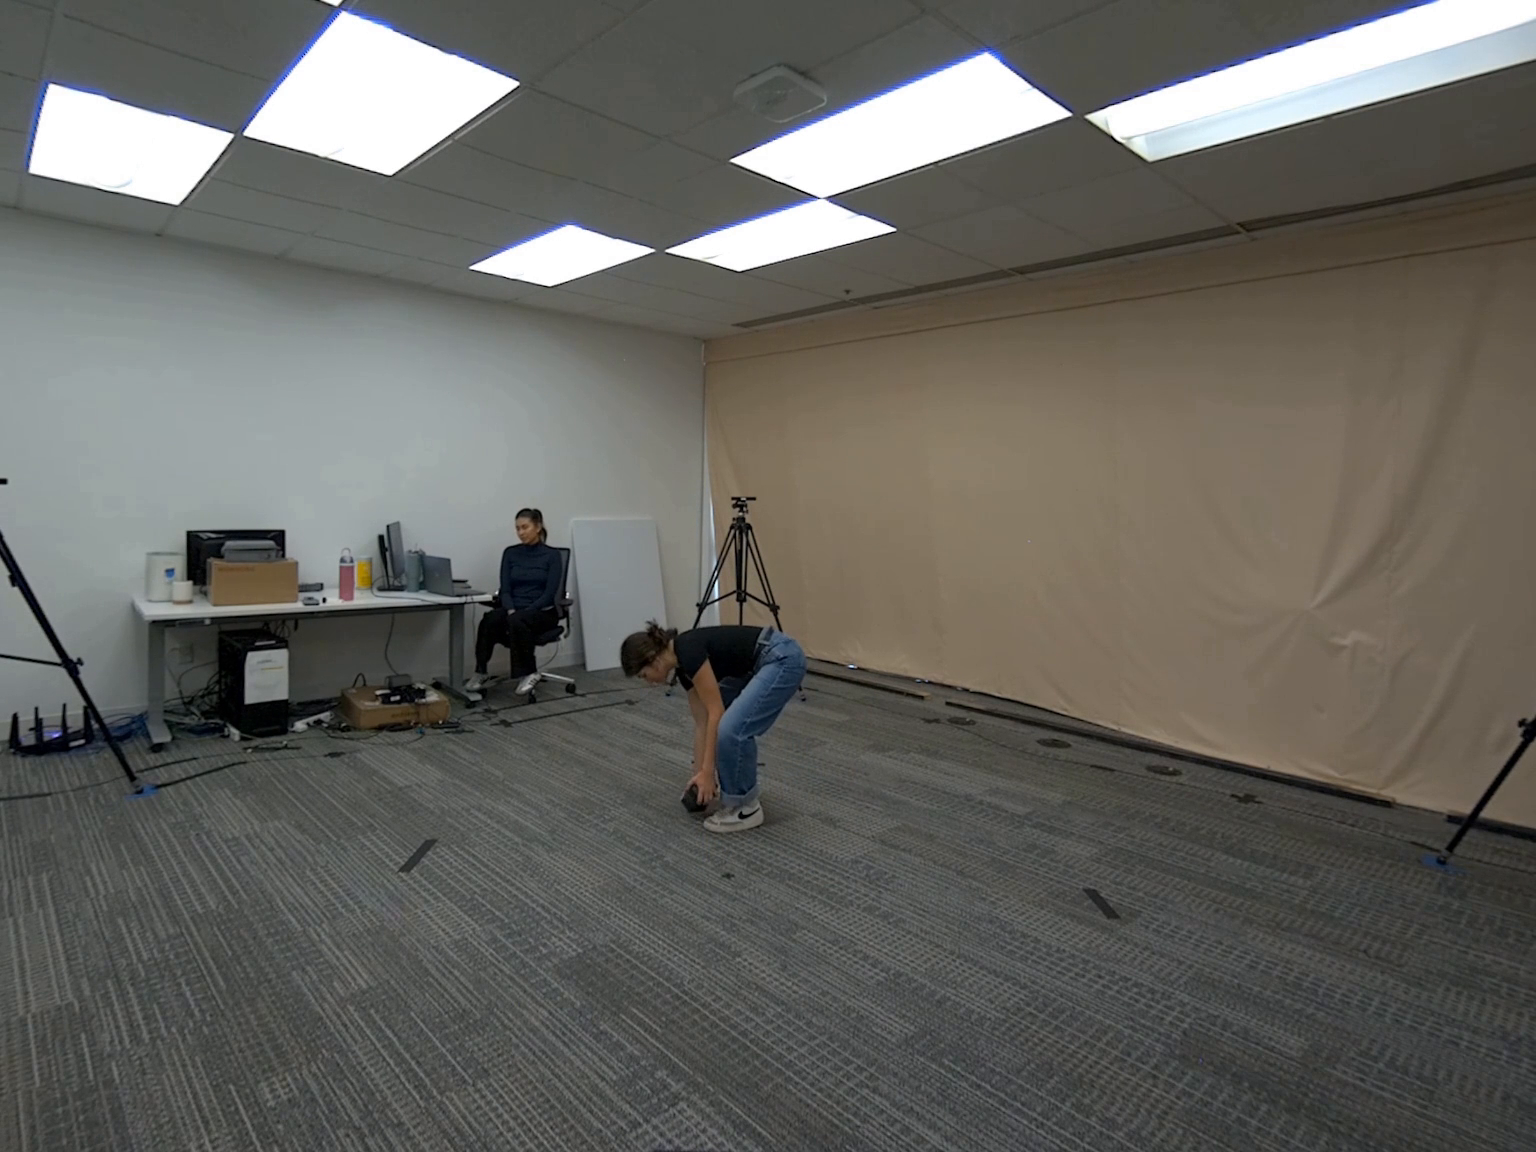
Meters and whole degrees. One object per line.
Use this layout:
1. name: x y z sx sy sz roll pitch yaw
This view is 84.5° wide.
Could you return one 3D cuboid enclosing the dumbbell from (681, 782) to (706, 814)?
1. dumbbell: -0.301 0.916 3.587 0.121 0.111 0.291 -3 -25 -16
